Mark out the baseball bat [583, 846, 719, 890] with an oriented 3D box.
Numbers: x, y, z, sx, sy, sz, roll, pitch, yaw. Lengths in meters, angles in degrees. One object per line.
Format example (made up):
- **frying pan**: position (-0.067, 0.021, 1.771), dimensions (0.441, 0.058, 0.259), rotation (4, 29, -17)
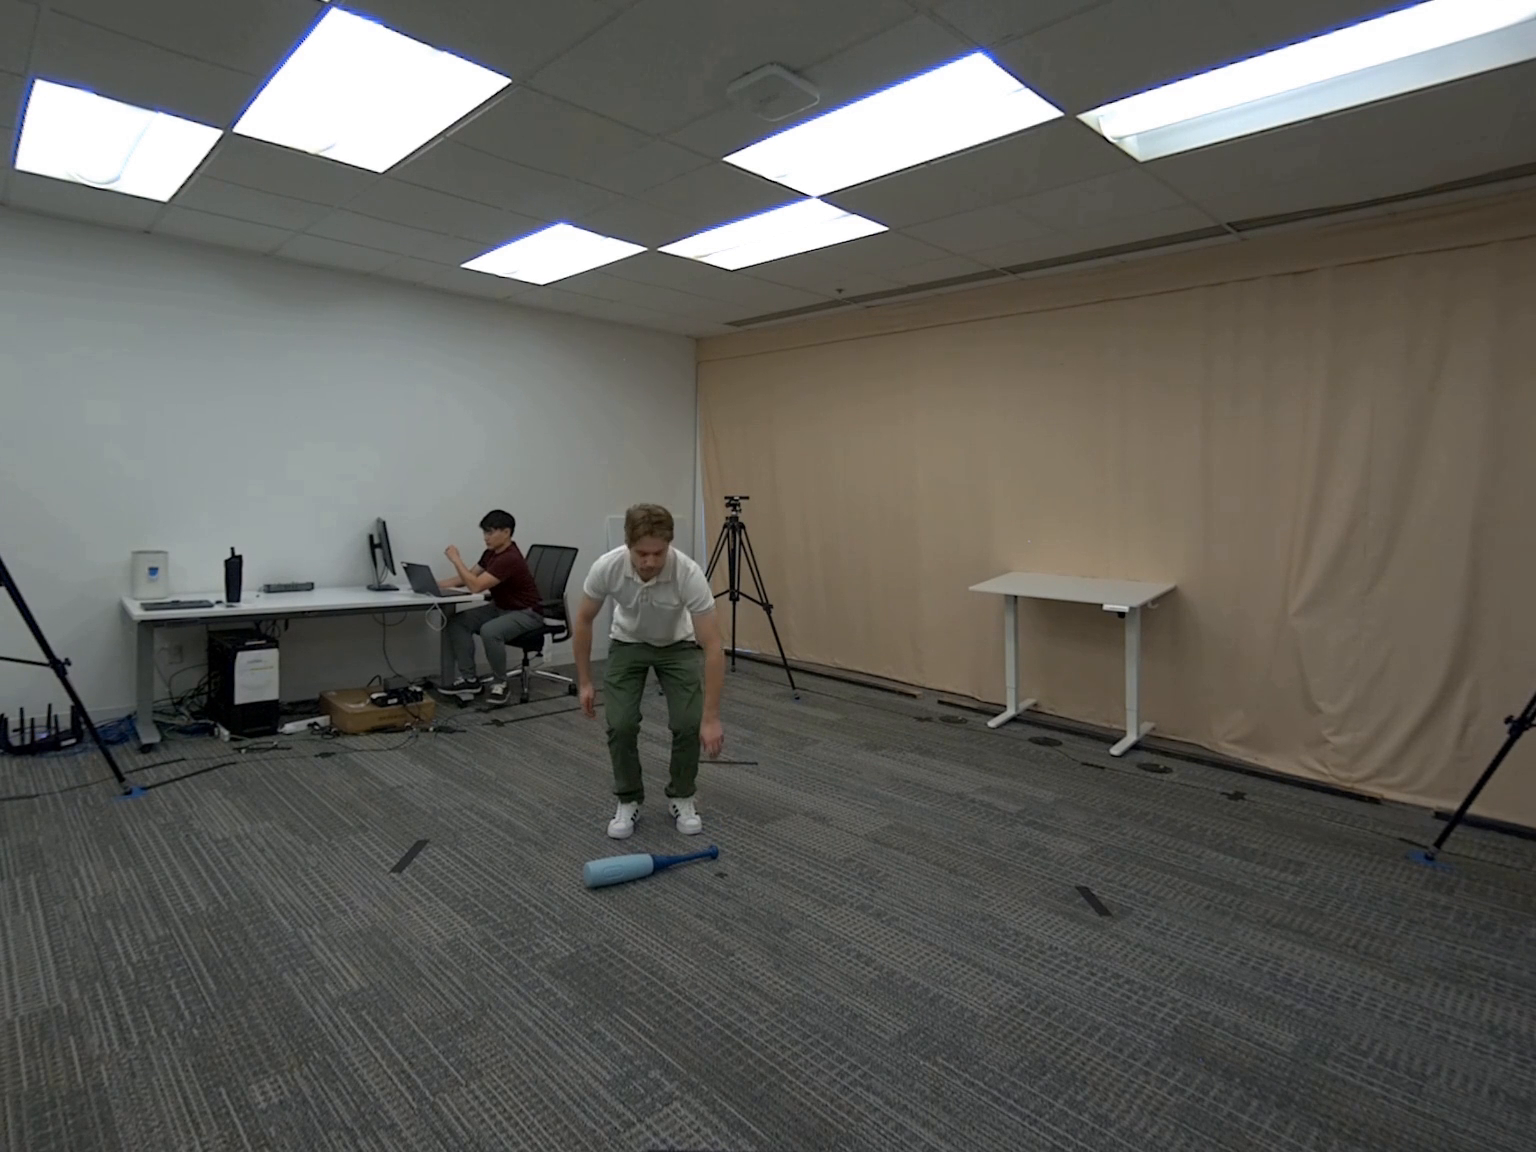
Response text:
- **baseball bat**: position (-0.429, 1.063, 3.105), dimensions (0.531, 0.089, 0.091), rotation (3, 3, -33)
